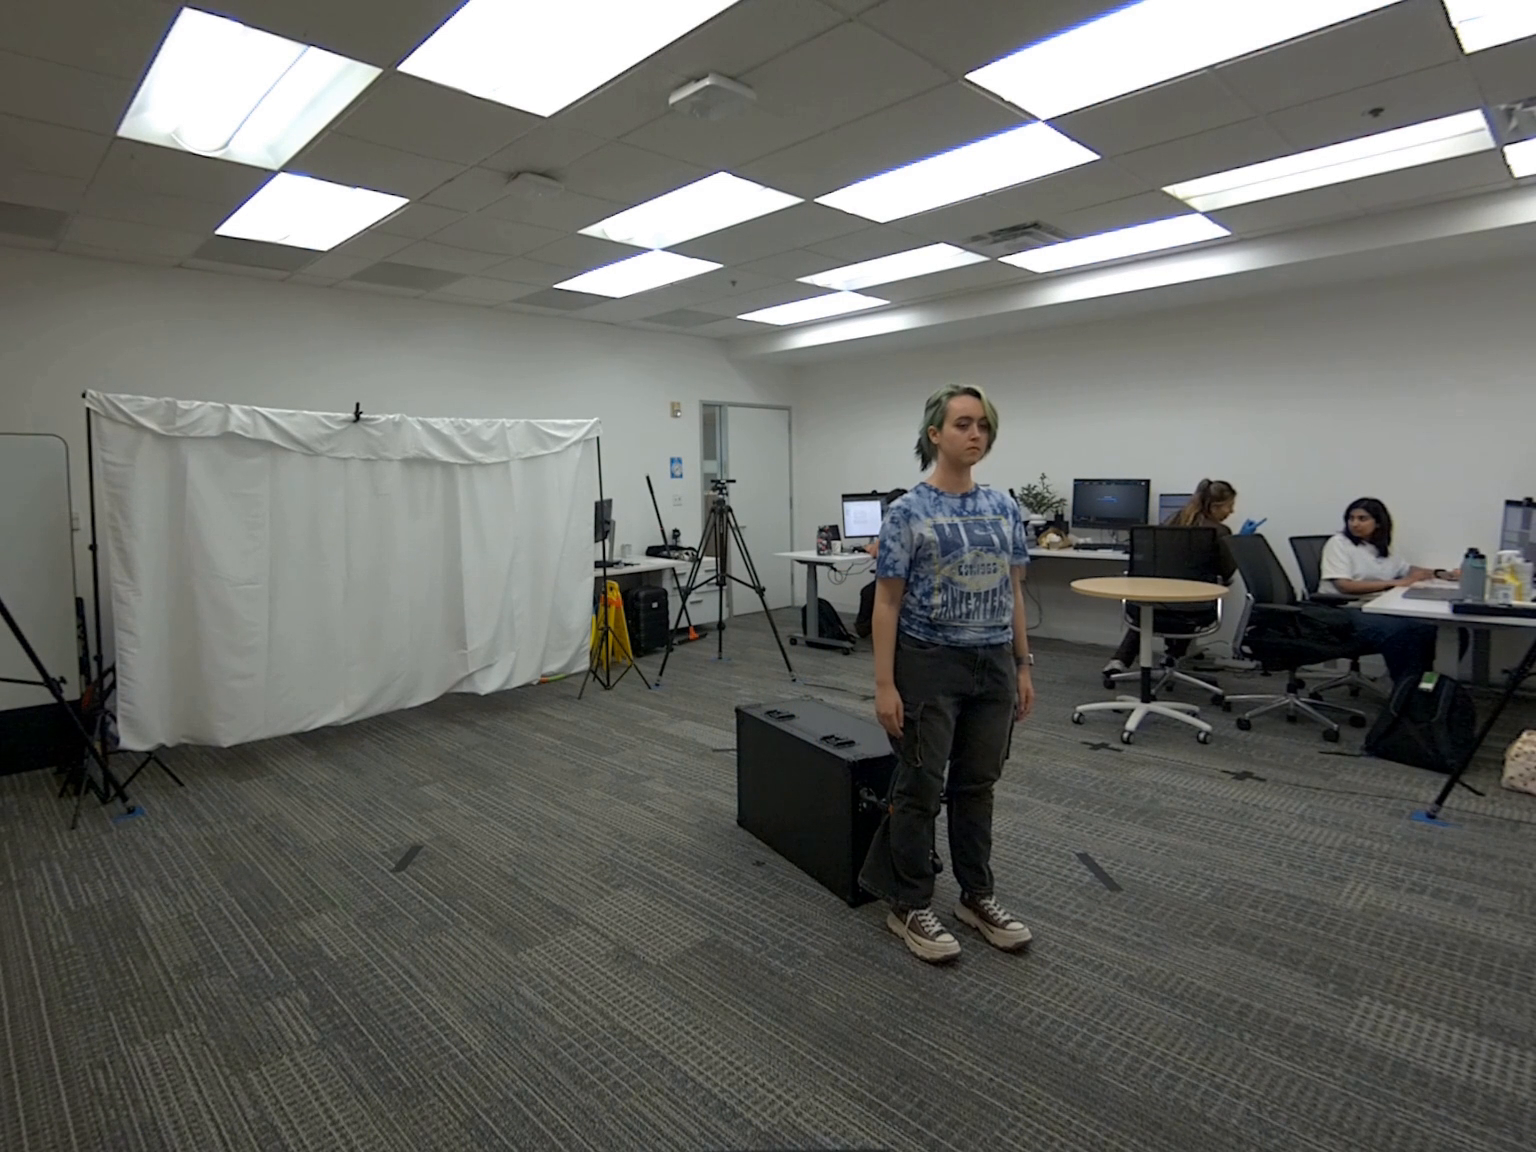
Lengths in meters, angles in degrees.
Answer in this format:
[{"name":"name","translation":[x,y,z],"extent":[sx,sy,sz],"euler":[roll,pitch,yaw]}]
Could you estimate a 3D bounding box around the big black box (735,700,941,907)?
[{"name":"big black box","translation":[0.246,0.792,3.162],"extent":[0.387,0.519,0.885],"euler":[-4,7,-28]}]
